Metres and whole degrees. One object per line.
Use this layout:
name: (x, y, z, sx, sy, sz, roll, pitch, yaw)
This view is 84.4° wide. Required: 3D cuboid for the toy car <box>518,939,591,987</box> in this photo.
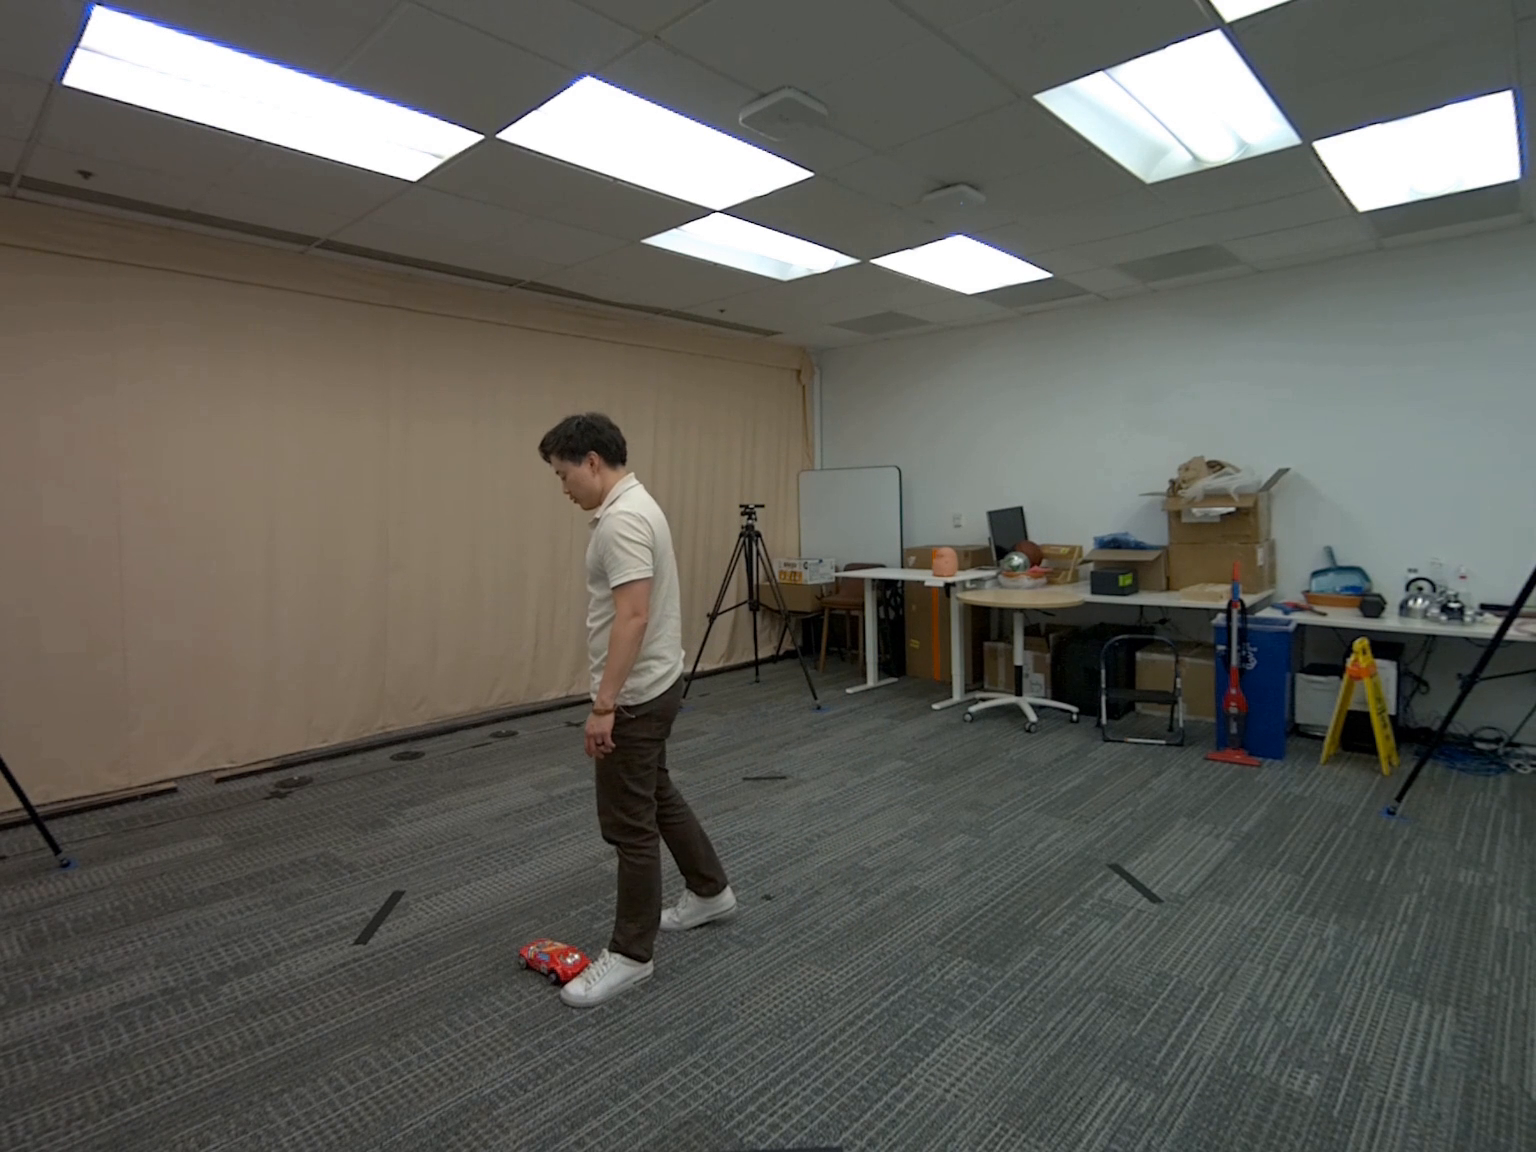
toy car: (-0.637, 1.160, 2.528, 0.261, 0.083, 0.126, -11, -3, 37)
